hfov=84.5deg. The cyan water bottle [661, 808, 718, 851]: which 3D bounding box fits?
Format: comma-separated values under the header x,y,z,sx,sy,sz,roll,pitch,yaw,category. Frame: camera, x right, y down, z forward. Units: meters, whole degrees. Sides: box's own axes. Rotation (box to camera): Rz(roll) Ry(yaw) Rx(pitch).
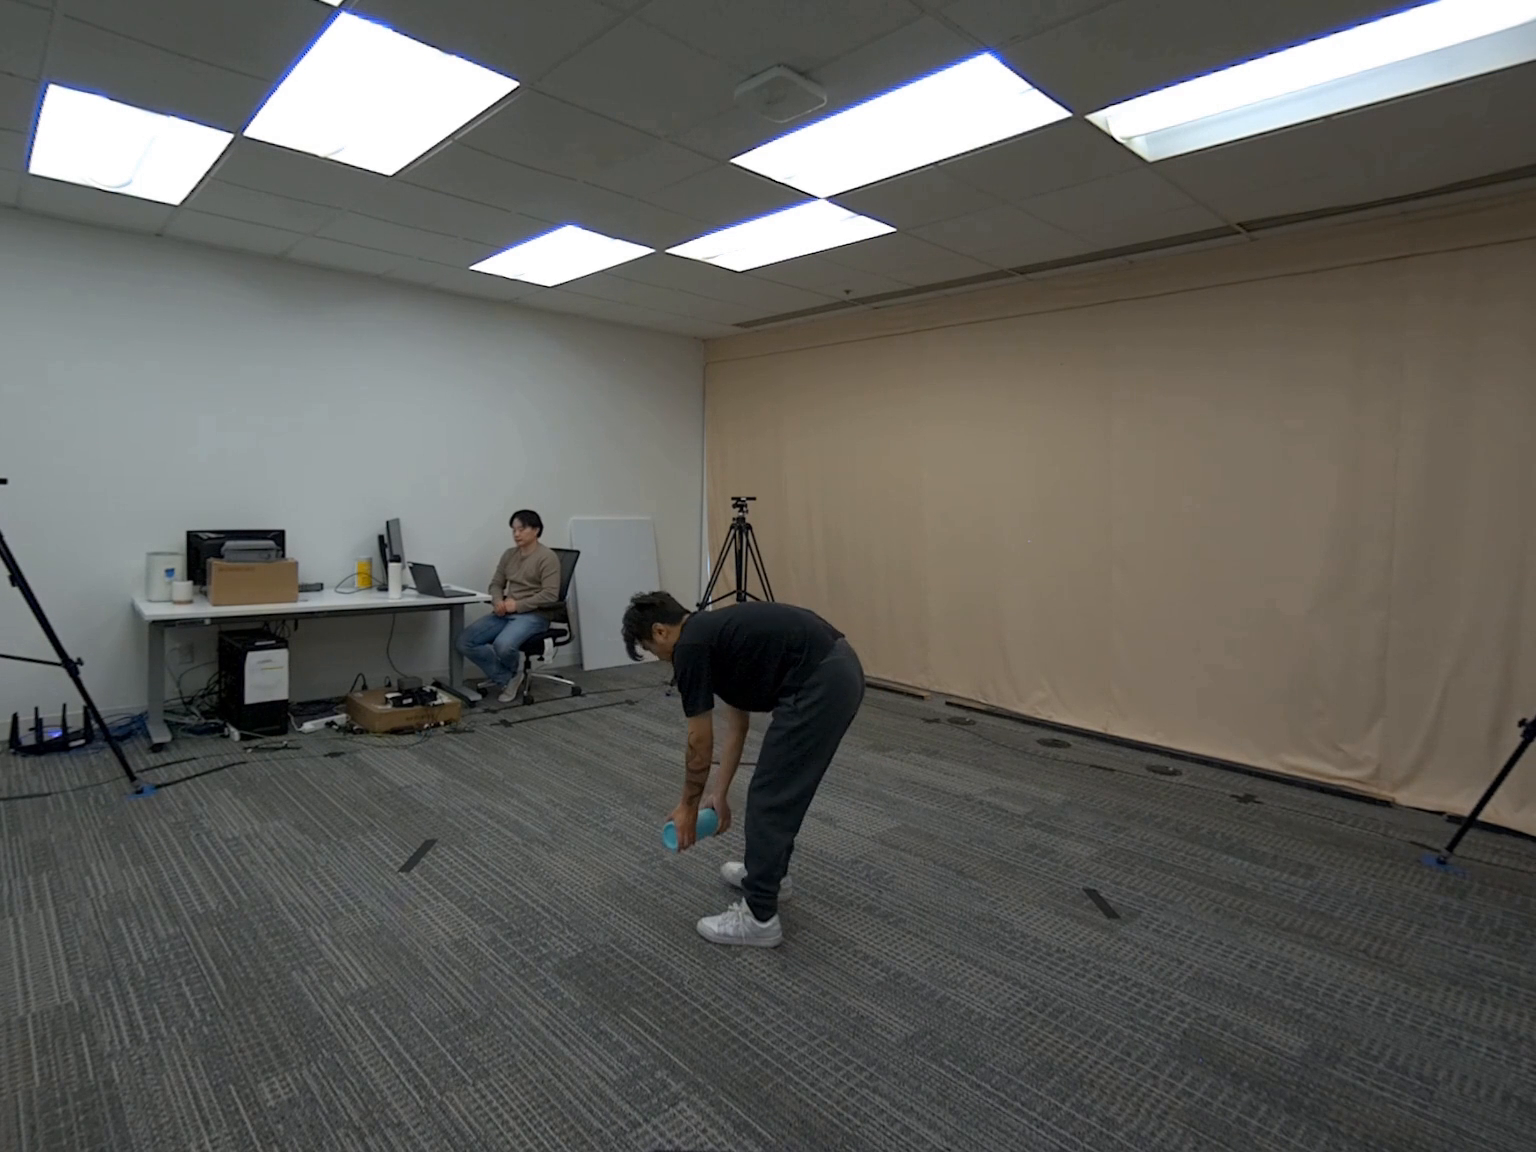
x,y,z,sx,sy,sz,roll,pitch,yaw,category
-0.234,0.859,2.856,0.094,0.092,0.277,4,1,31,cyan water bottle
